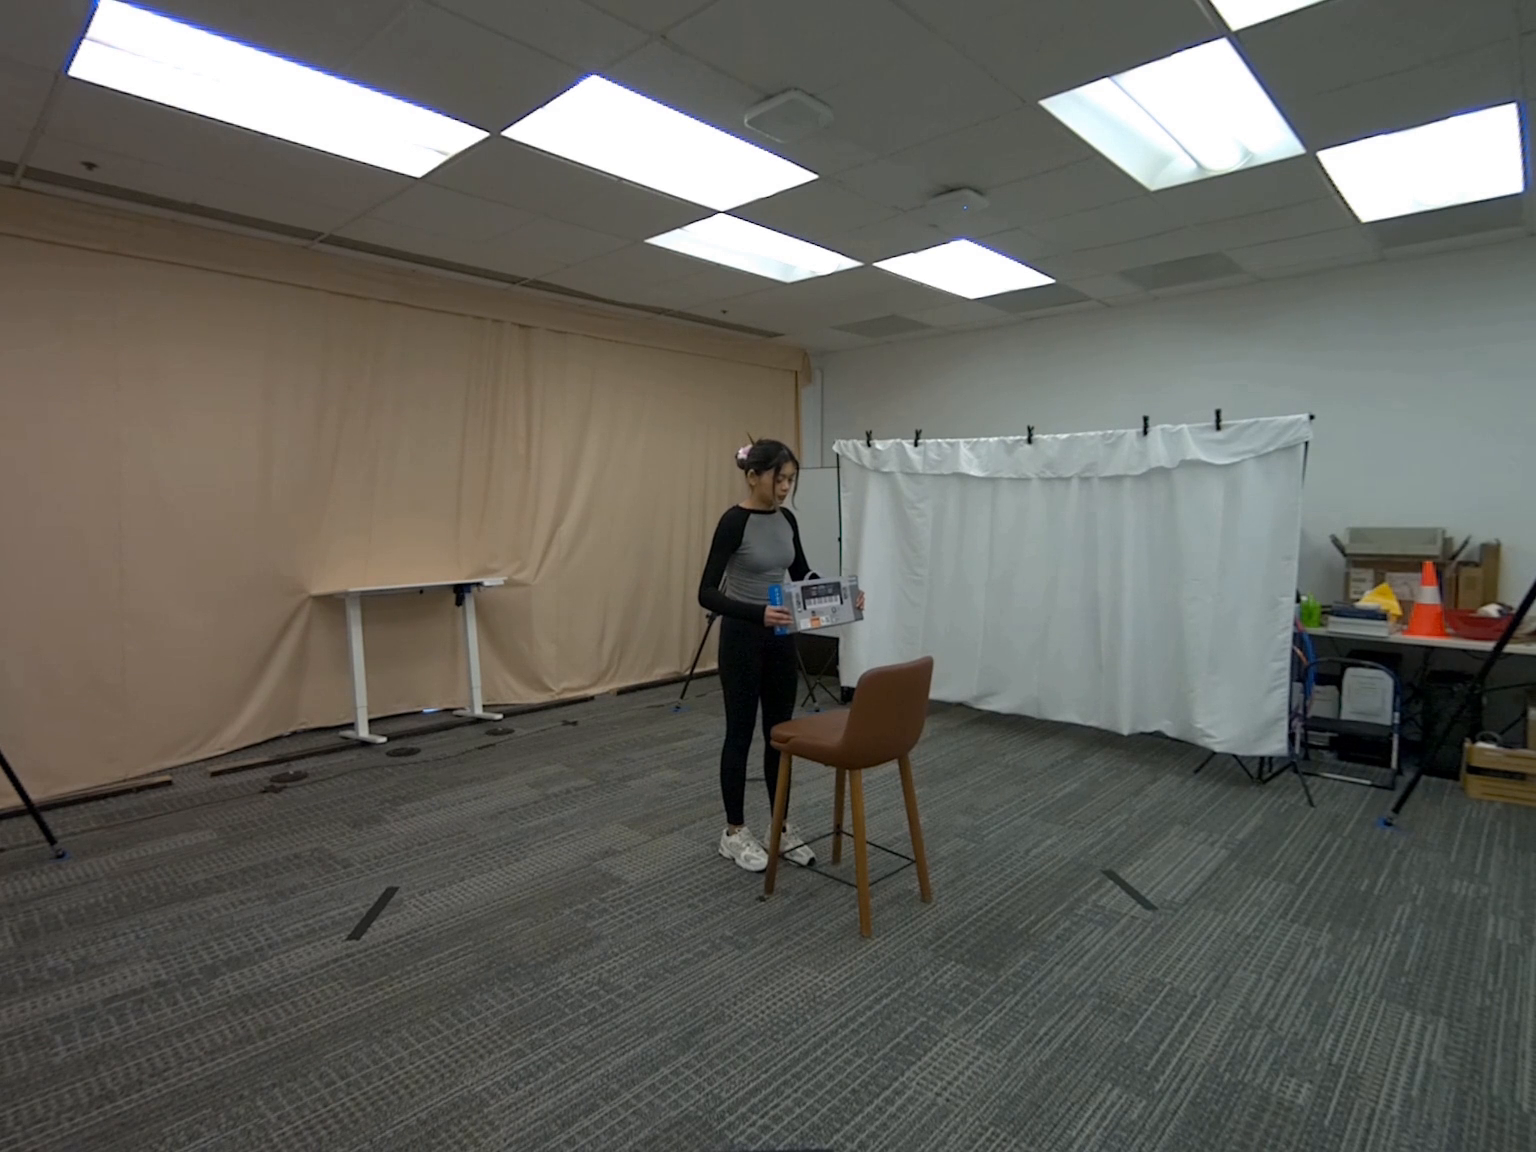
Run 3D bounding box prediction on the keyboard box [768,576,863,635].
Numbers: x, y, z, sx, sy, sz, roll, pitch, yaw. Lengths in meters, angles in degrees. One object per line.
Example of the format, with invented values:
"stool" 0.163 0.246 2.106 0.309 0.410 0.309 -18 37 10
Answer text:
"keyboard box" 0.182 0.104 3.049 0.423 0.176 0.061 -5 -4 -44
